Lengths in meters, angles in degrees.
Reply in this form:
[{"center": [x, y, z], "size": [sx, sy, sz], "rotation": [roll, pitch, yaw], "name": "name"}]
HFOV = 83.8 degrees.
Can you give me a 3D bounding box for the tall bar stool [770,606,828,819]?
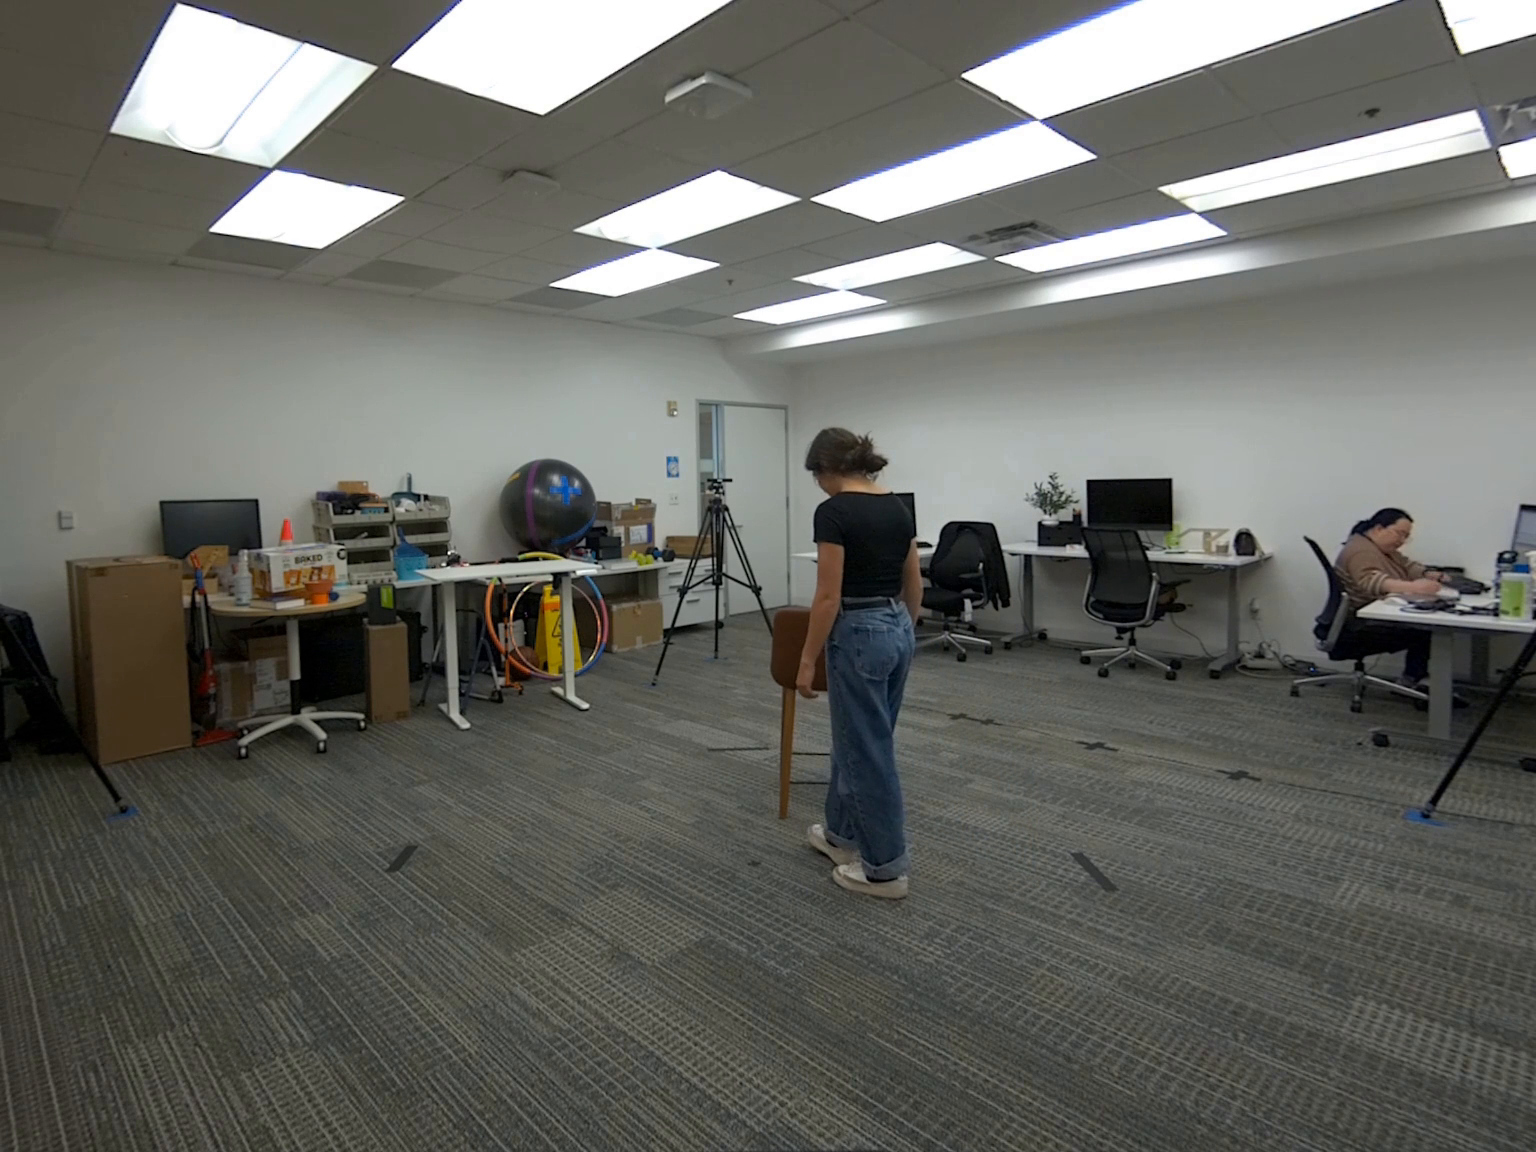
[{"center": [0.243, 0.540, 3.676], "size": [0.459, 0.885, 0.467], "rotation": [0, 6, 6], "name": "tall bar stool"}]
